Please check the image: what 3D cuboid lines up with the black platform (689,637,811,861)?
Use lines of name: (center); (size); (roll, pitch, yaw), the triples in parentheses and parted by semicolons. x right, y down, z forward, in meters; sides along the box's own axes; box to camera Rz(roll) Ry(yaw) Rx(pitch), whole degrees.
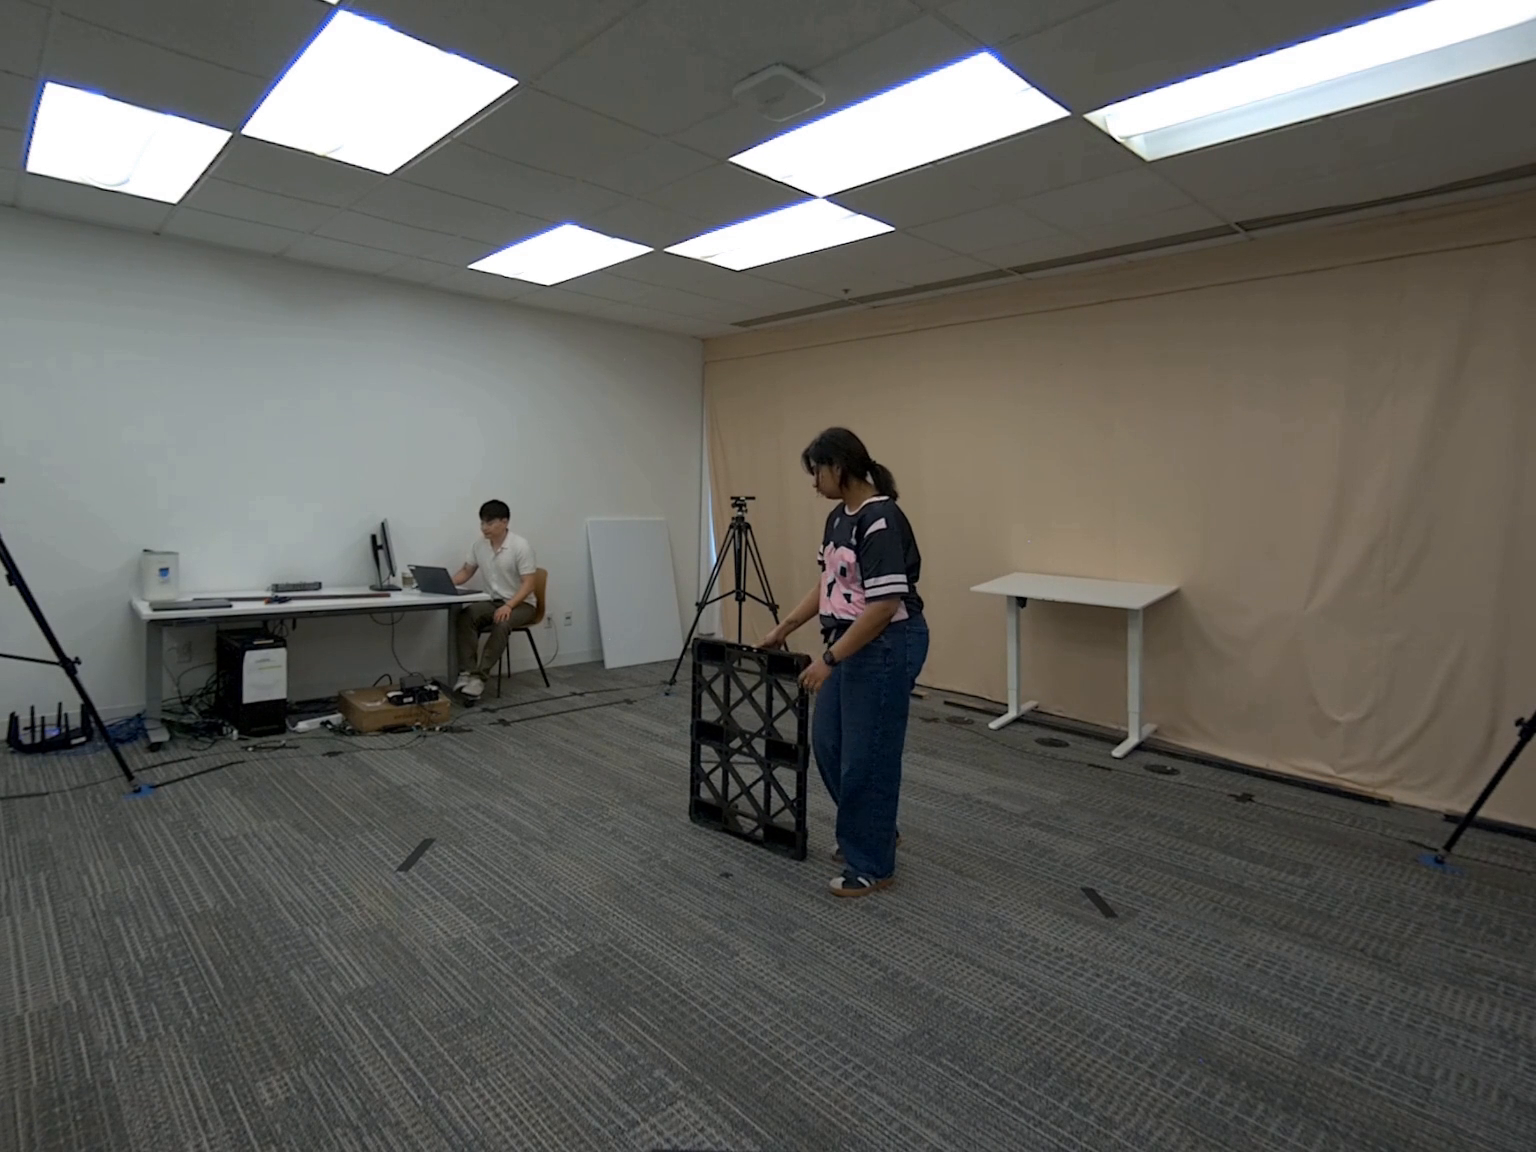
black platform: (-0.072, 0.680, 3.453); (0.620, 0.803, 0.140); (5, 5, 41)
